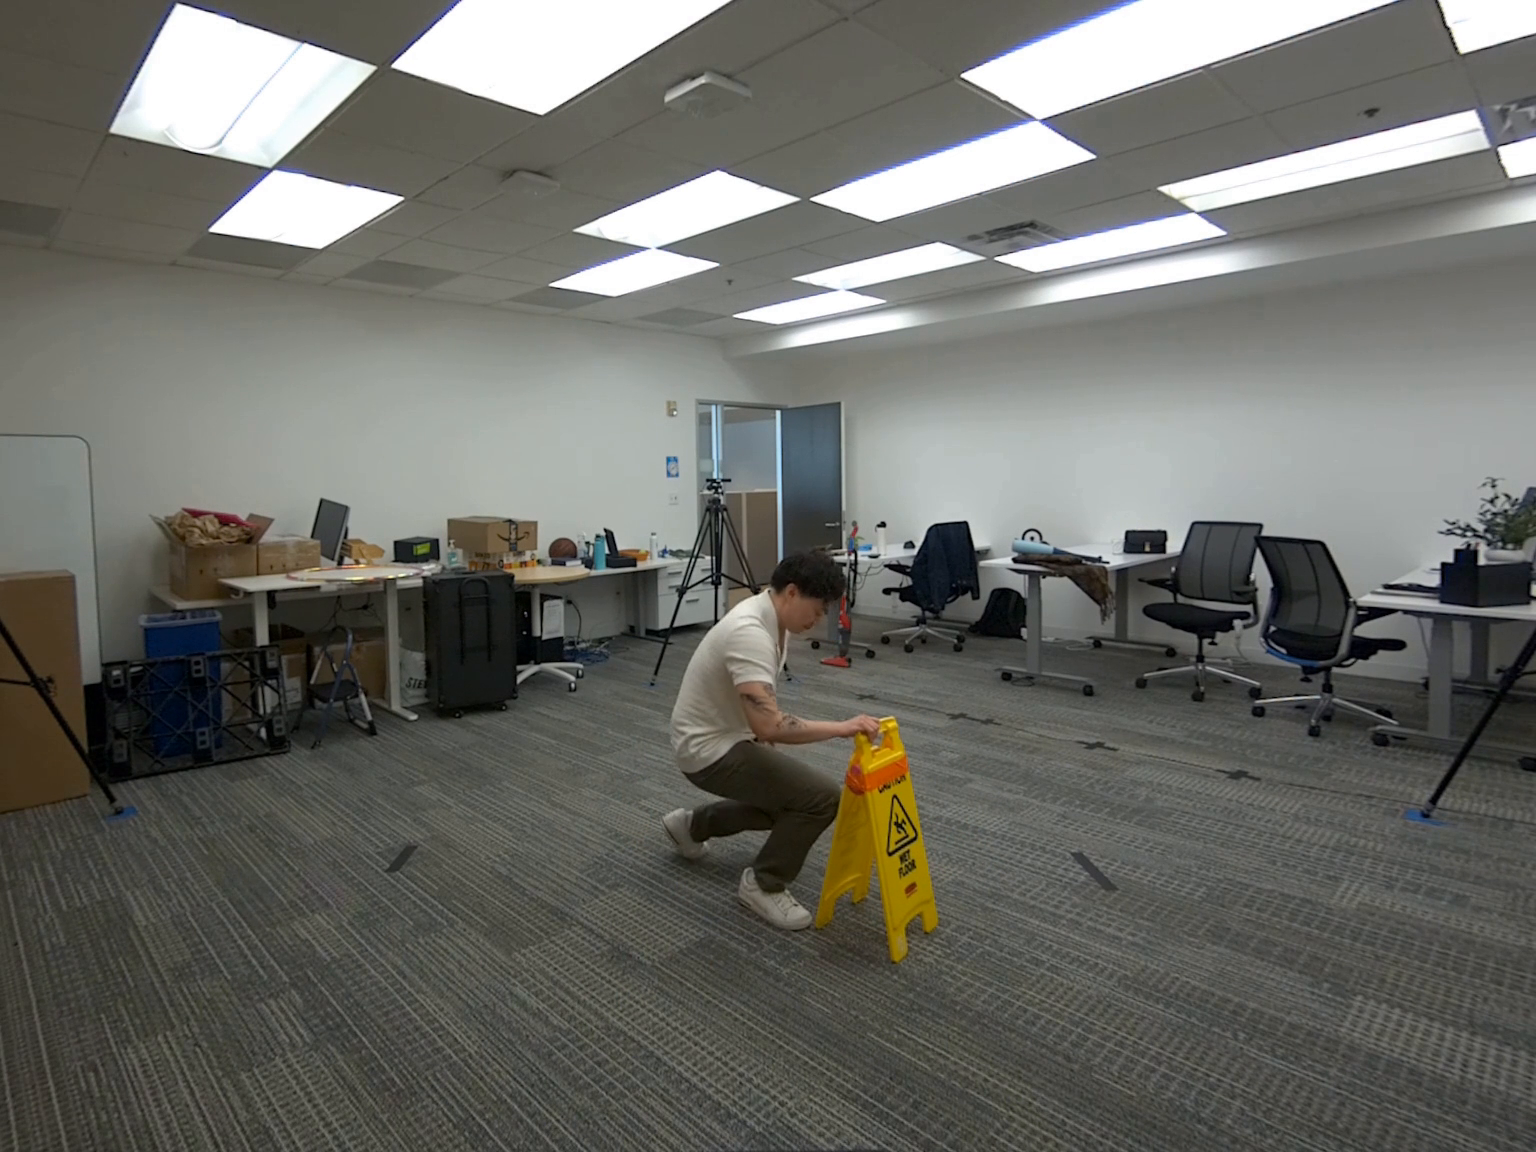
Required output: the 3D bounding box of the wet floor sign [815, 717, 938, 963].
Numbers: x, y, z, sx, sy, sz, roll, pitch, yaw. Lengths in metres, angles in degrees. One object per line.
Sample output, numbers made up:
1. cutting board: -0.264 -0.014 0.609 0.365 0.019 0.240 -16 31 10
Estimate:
1. wet floor sign: 0.343 0.770 2.624 0.299 0.643 0.275 6 8 42
